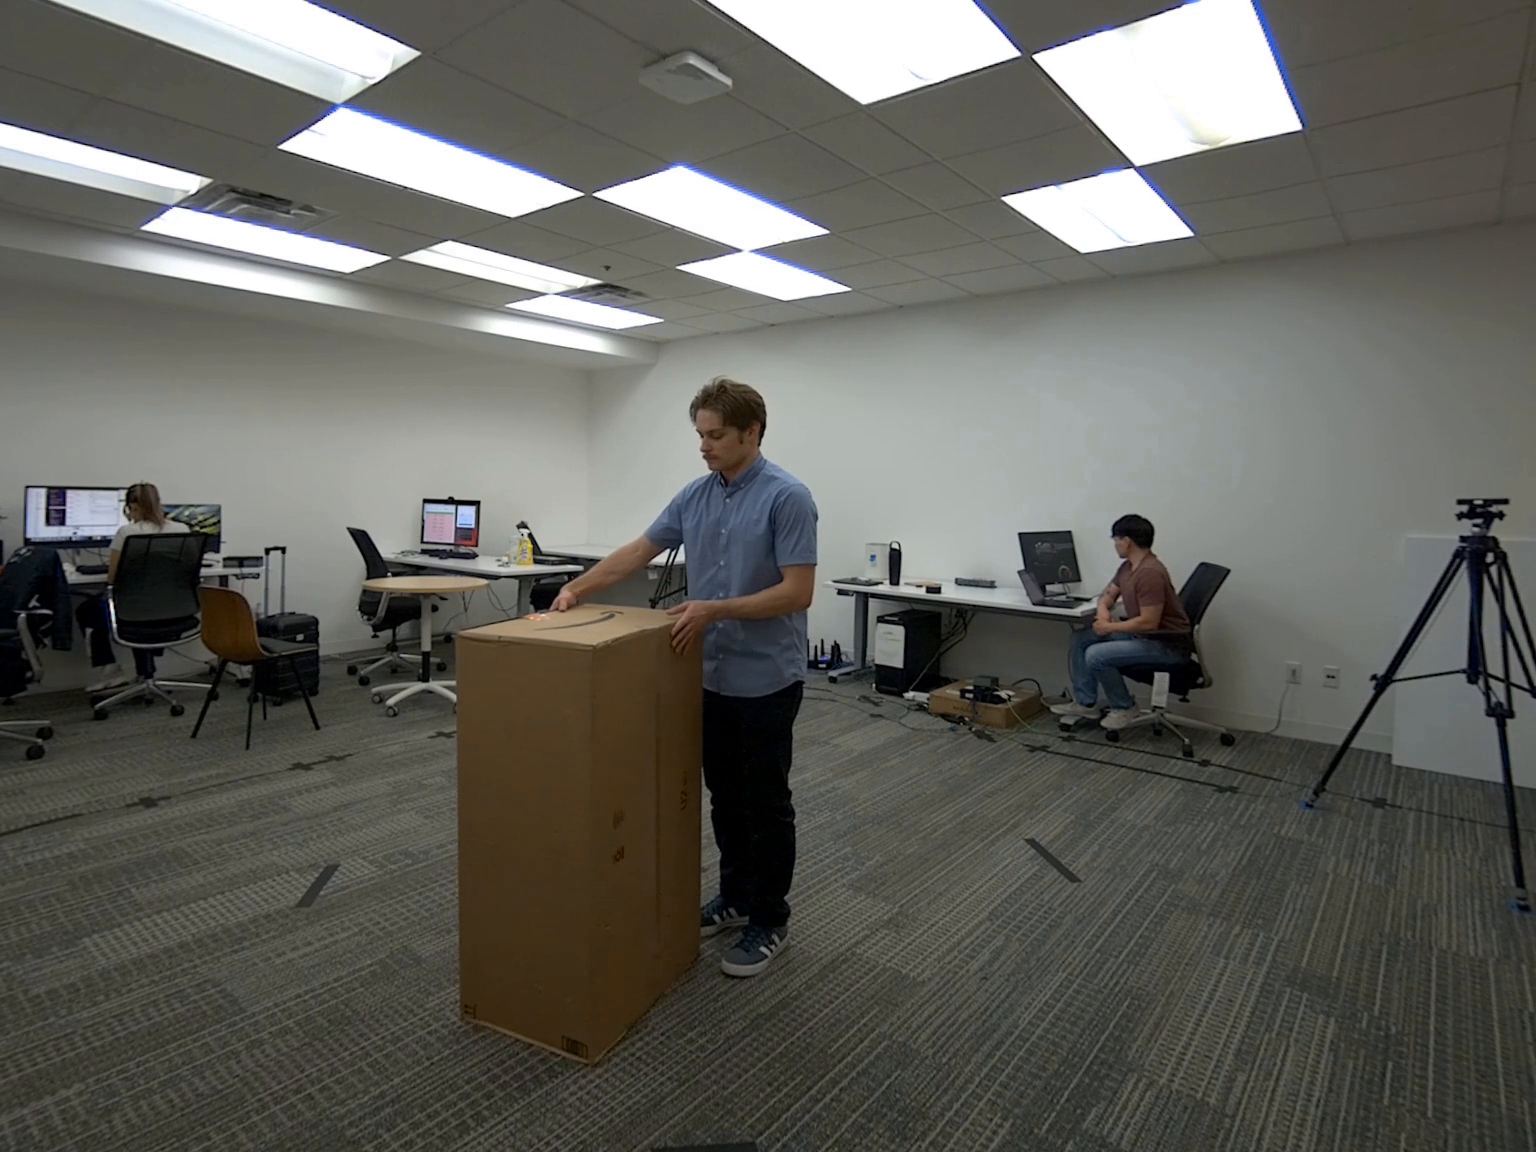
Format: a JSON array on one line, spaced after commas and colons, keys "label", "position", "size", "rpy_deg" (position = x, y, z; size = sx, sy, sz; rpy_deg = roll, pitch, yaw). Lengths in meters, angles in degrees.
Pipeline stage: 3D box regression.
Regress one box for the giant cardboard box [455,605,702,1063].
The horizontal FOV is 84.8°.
[{"label": "giant cardboard box", "position": [-0.515, 0.635, 2.342], "size": [0.437, 1.022, 0.565], "rpy_deg": [2, 4, 25]}]
